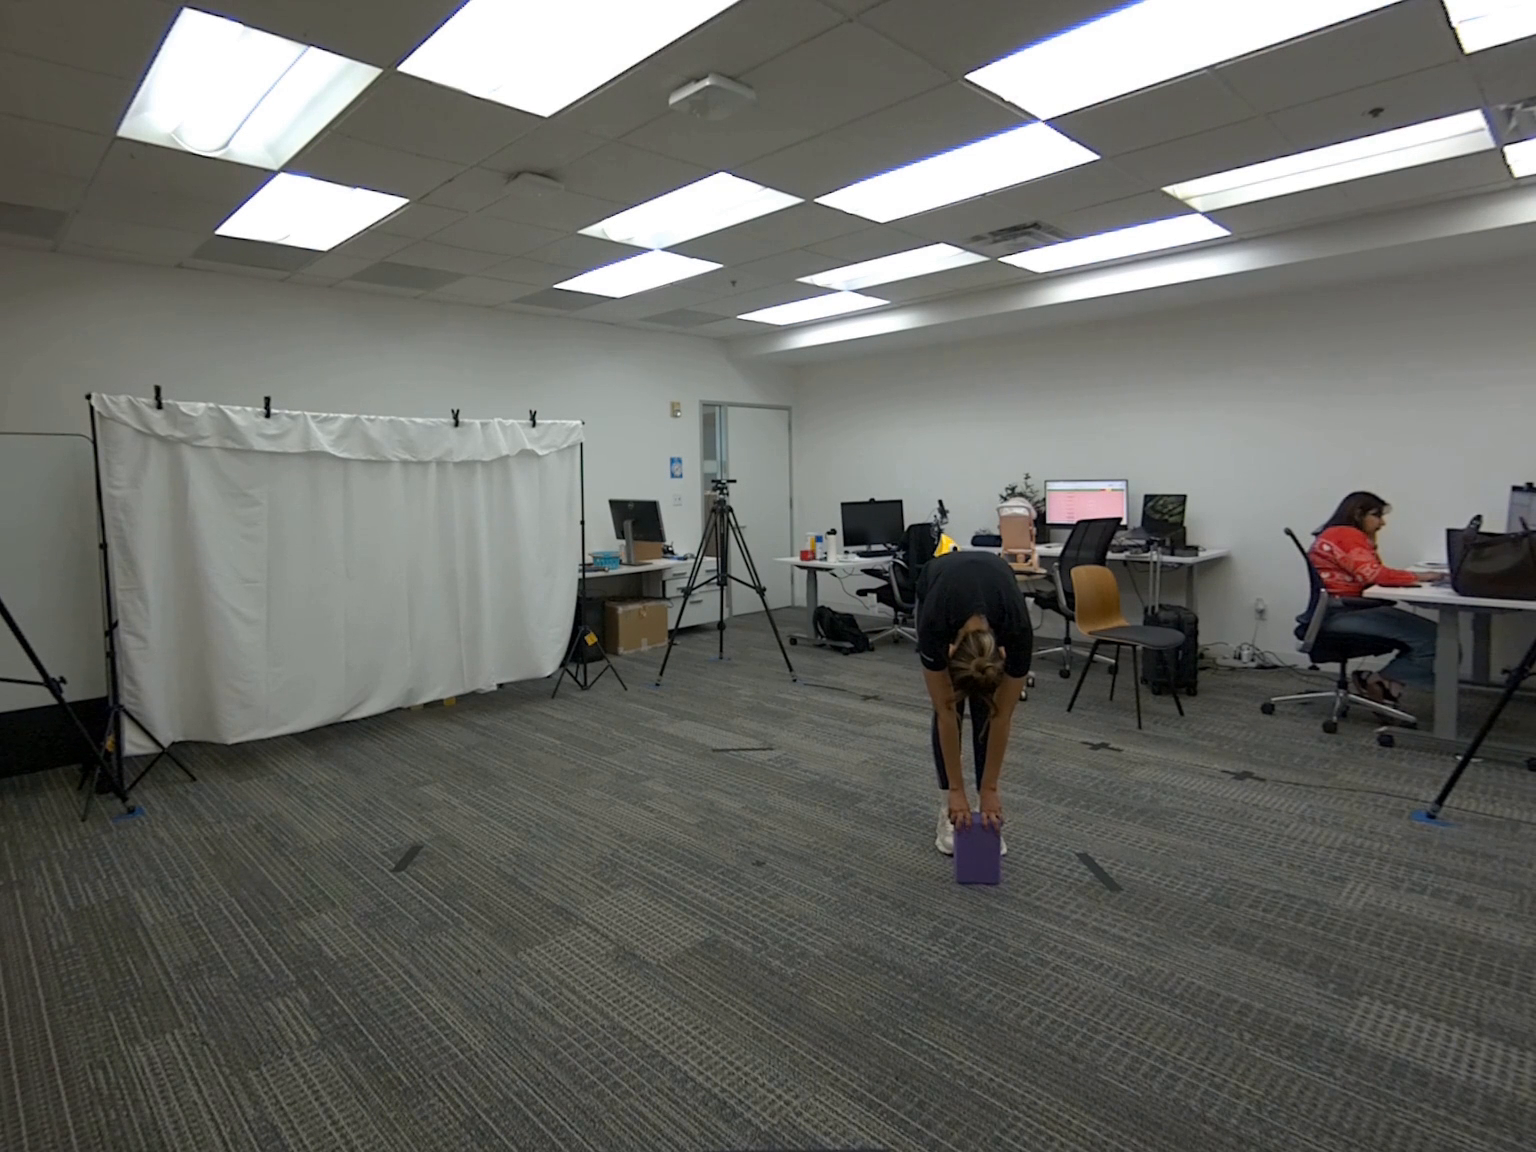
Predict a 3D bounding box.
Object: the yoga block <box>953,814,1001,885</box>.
[{"bbox_3d":[0.724,0.945,2.941,0.150,0.228,0.076,-3,3,5],"label":"yoga block"}]
